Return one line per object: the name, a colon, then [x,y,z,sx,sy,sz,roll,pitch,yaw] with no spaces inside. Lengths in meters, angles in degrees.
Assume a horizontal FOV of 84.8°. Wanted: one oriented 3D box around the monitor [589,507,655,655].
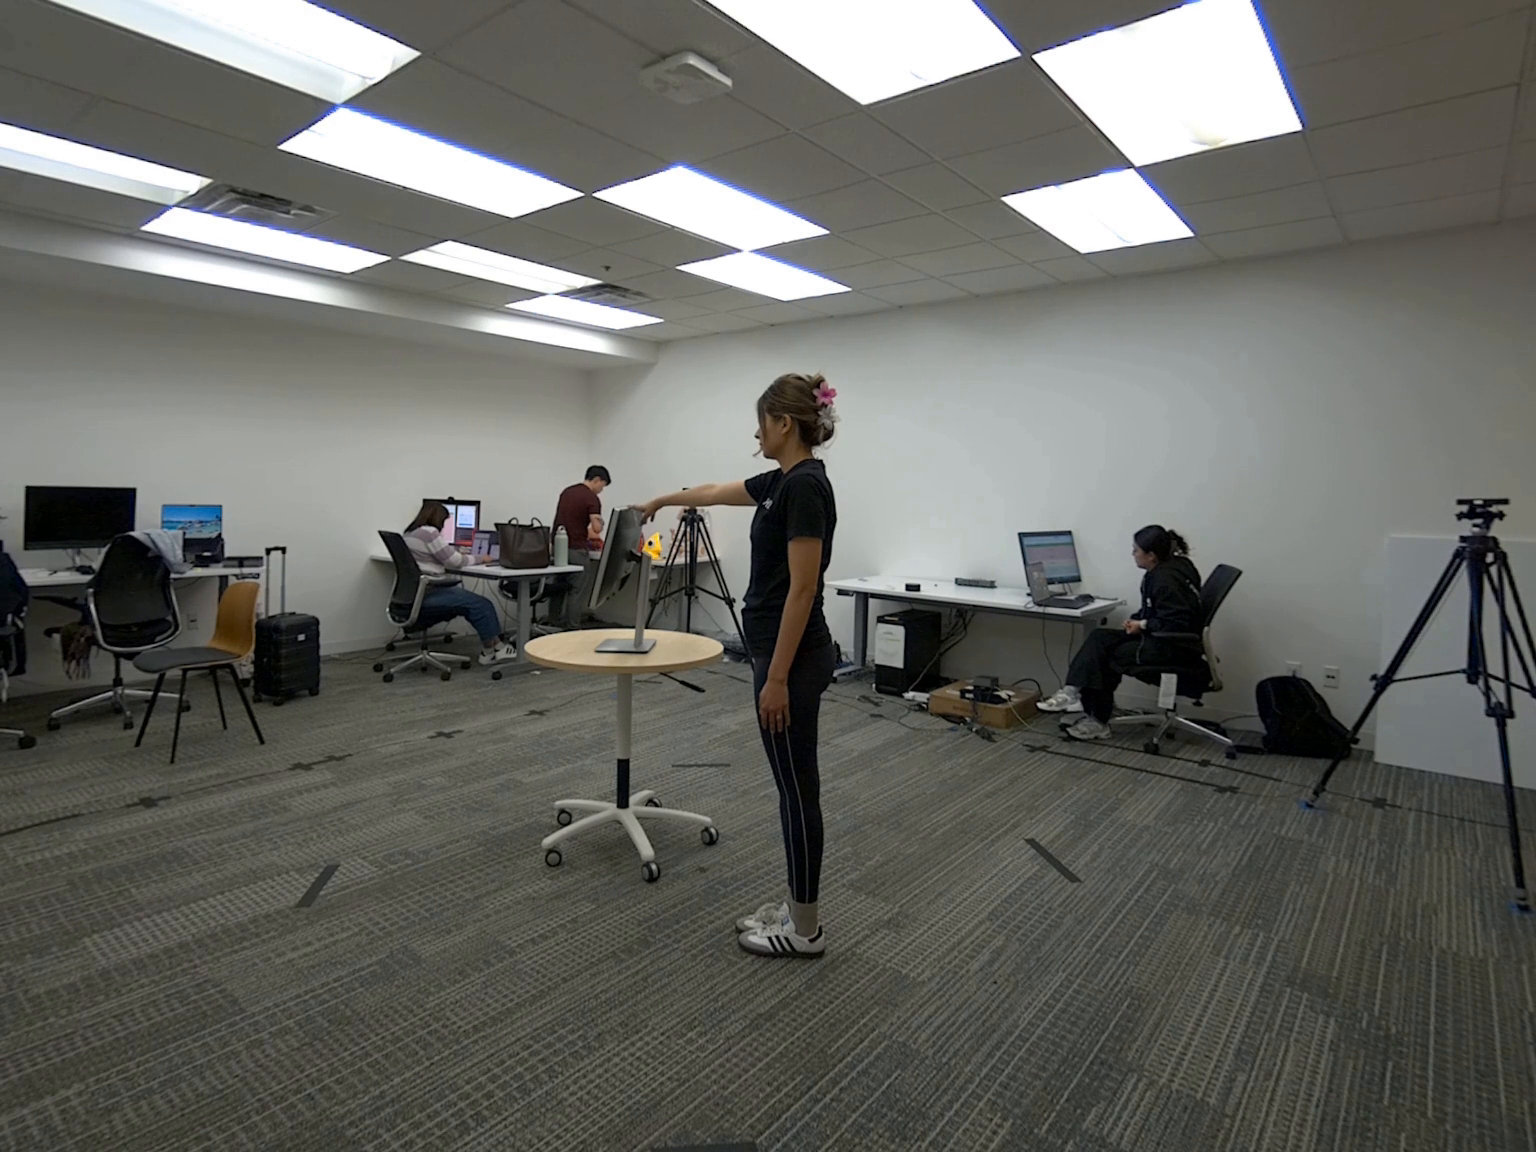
monitor: [-0.543,0.010,3.246,0.187,0.521,0.540,1,5,0]
